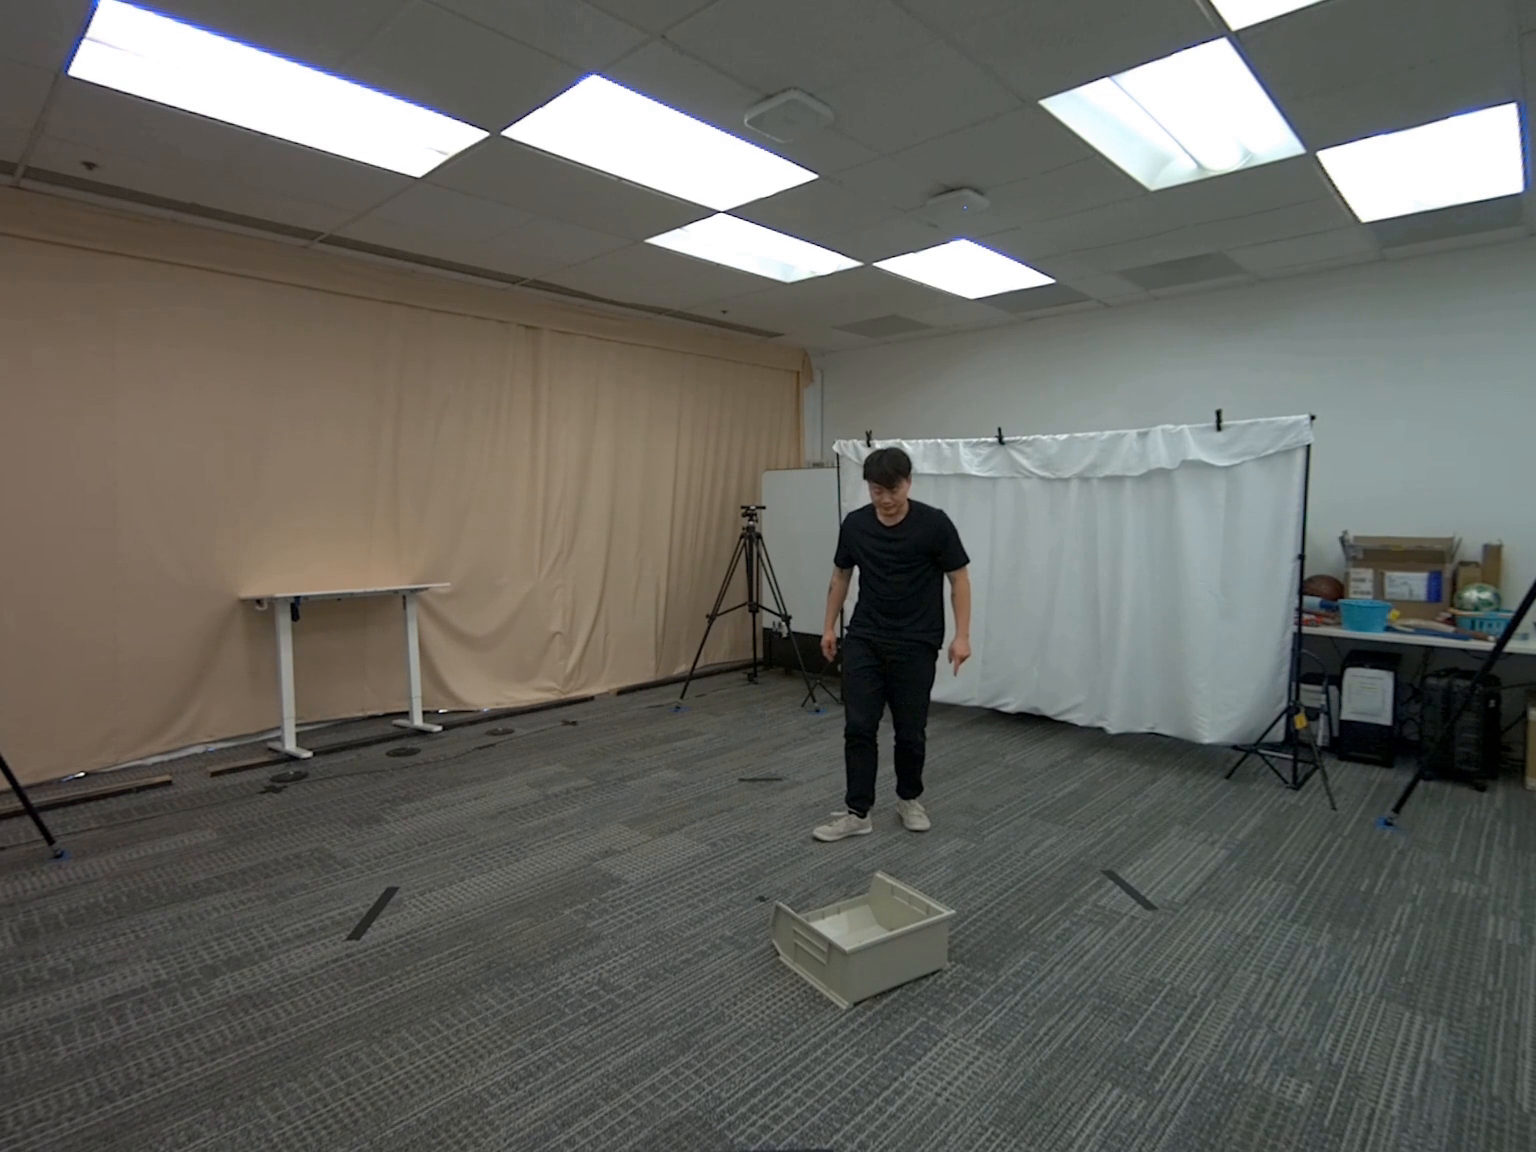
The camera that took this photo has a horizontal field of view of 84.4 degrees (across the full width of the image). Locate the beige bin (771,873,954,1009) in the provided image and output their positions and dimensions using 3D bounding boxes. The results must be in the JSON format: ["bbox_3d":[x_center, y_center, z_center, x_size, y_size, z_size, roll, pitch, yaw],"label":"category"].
[{"bbox_3d":[0.286,1.093,2.565,0.410,0.188,0.389,-2,5,-33],"label":"beige bin"}]
